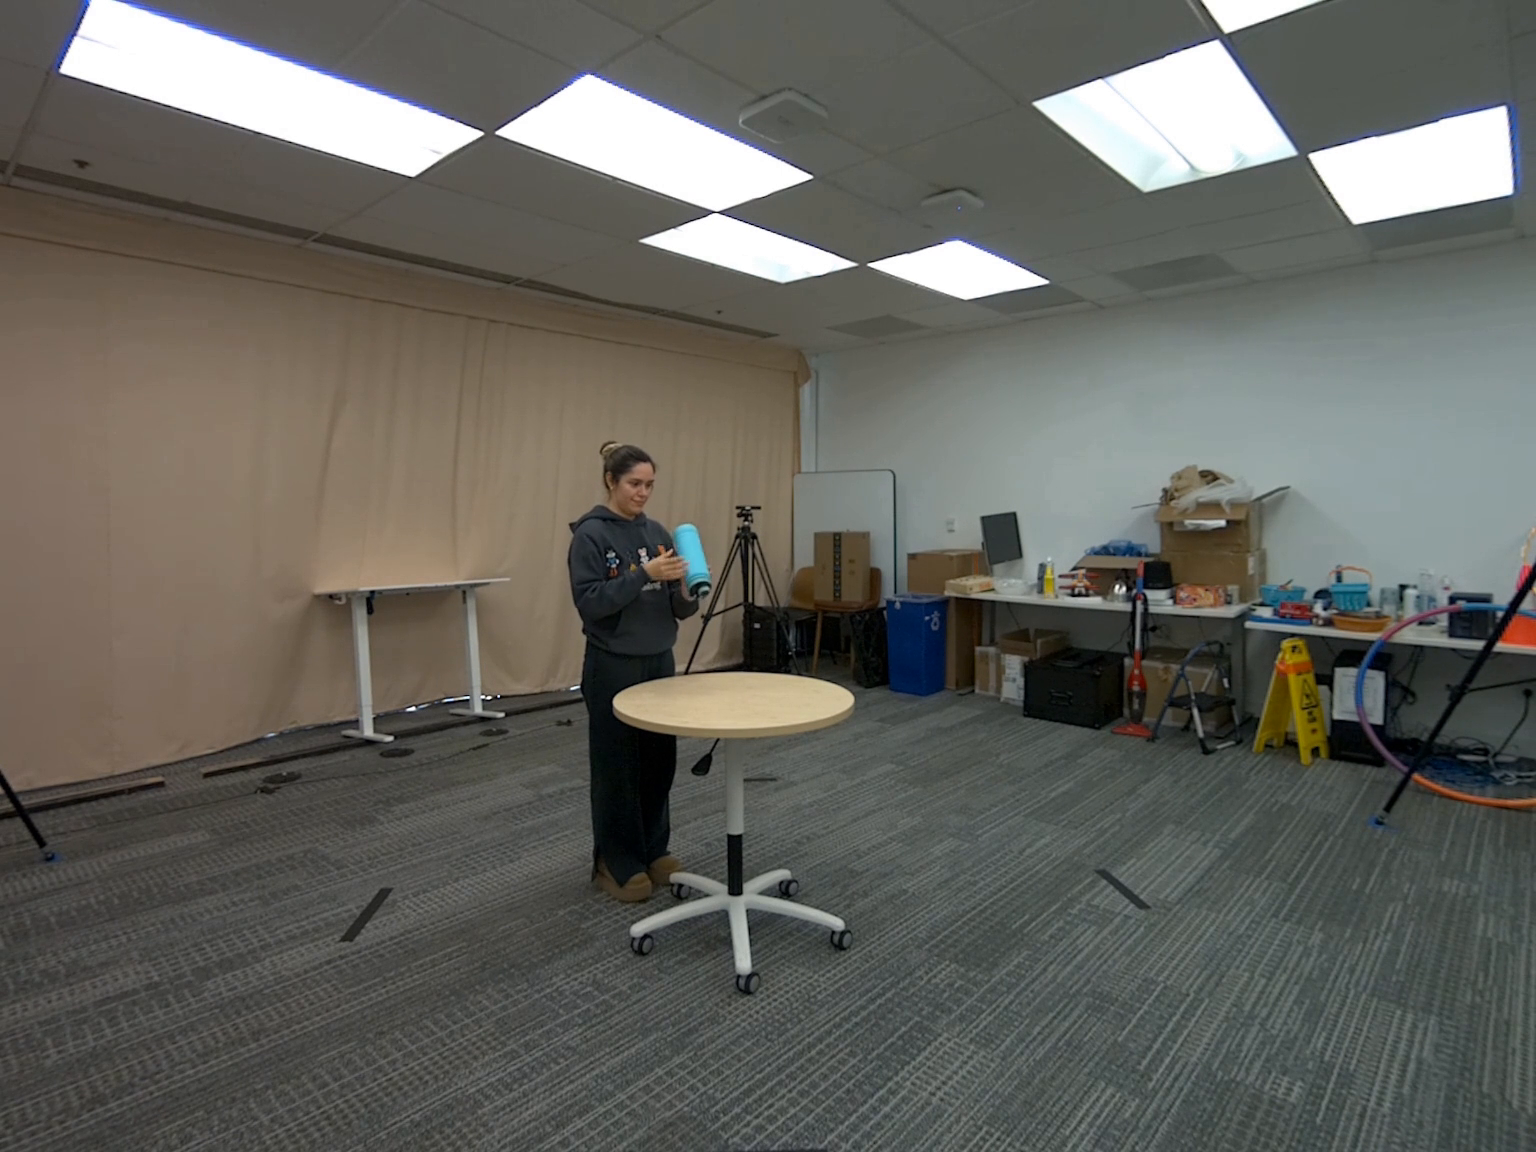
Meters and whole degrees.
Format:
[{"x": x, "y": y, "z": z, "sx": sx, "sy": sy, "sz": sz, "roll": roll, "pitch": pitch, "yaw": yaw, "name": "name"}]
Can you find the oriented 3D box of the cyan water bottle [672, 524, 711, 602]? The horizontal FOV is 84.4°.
[{"x": -0.263, "y": -0.044, "z": 2.920, "sx": 0.091, "sy": 0.290, "sz": 0.091, "roll": -10, "pitch": -35, "yaw": -9, "name": "cyan water bottle"}]
